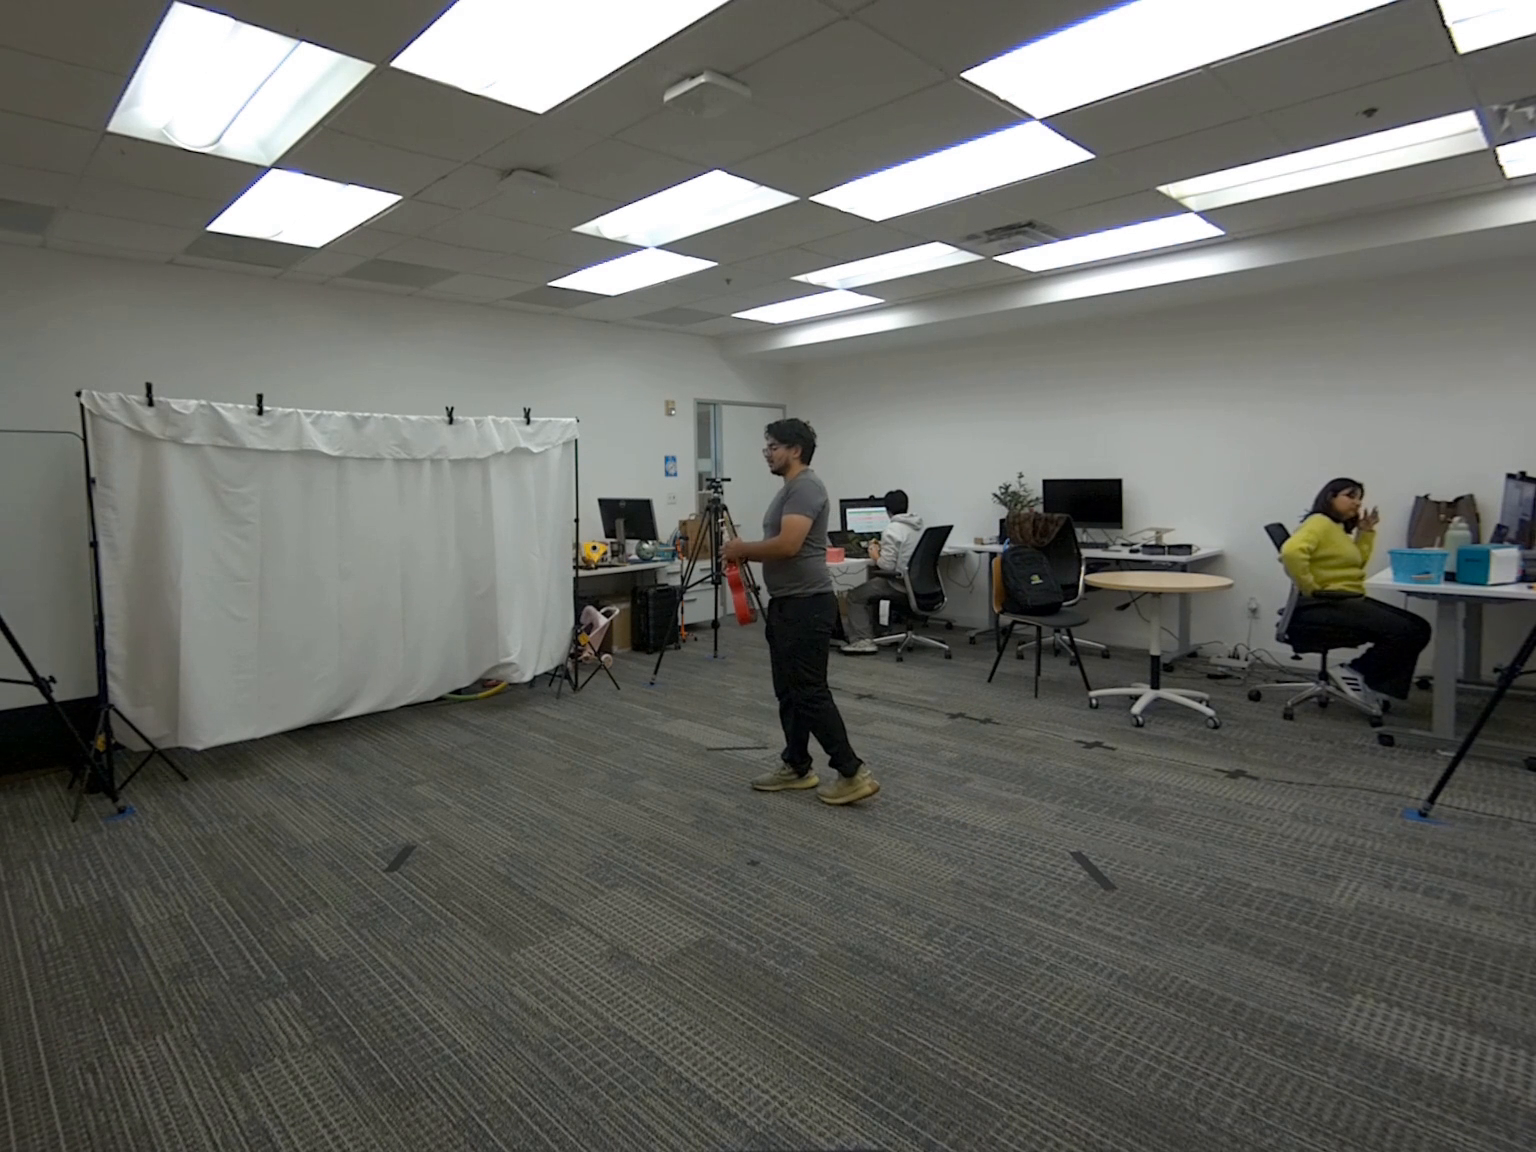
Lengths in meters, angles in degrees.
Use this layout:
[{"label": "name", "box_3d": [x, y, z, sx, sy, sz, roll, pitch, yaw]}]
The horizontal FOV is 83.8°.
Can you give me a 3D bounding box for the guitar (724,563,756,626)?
[{"label": "guitar", "box_3d": [-0.133, -0.030, 3.806, 0.071, 0.502, 0.190, -15, -7, 8]}]
